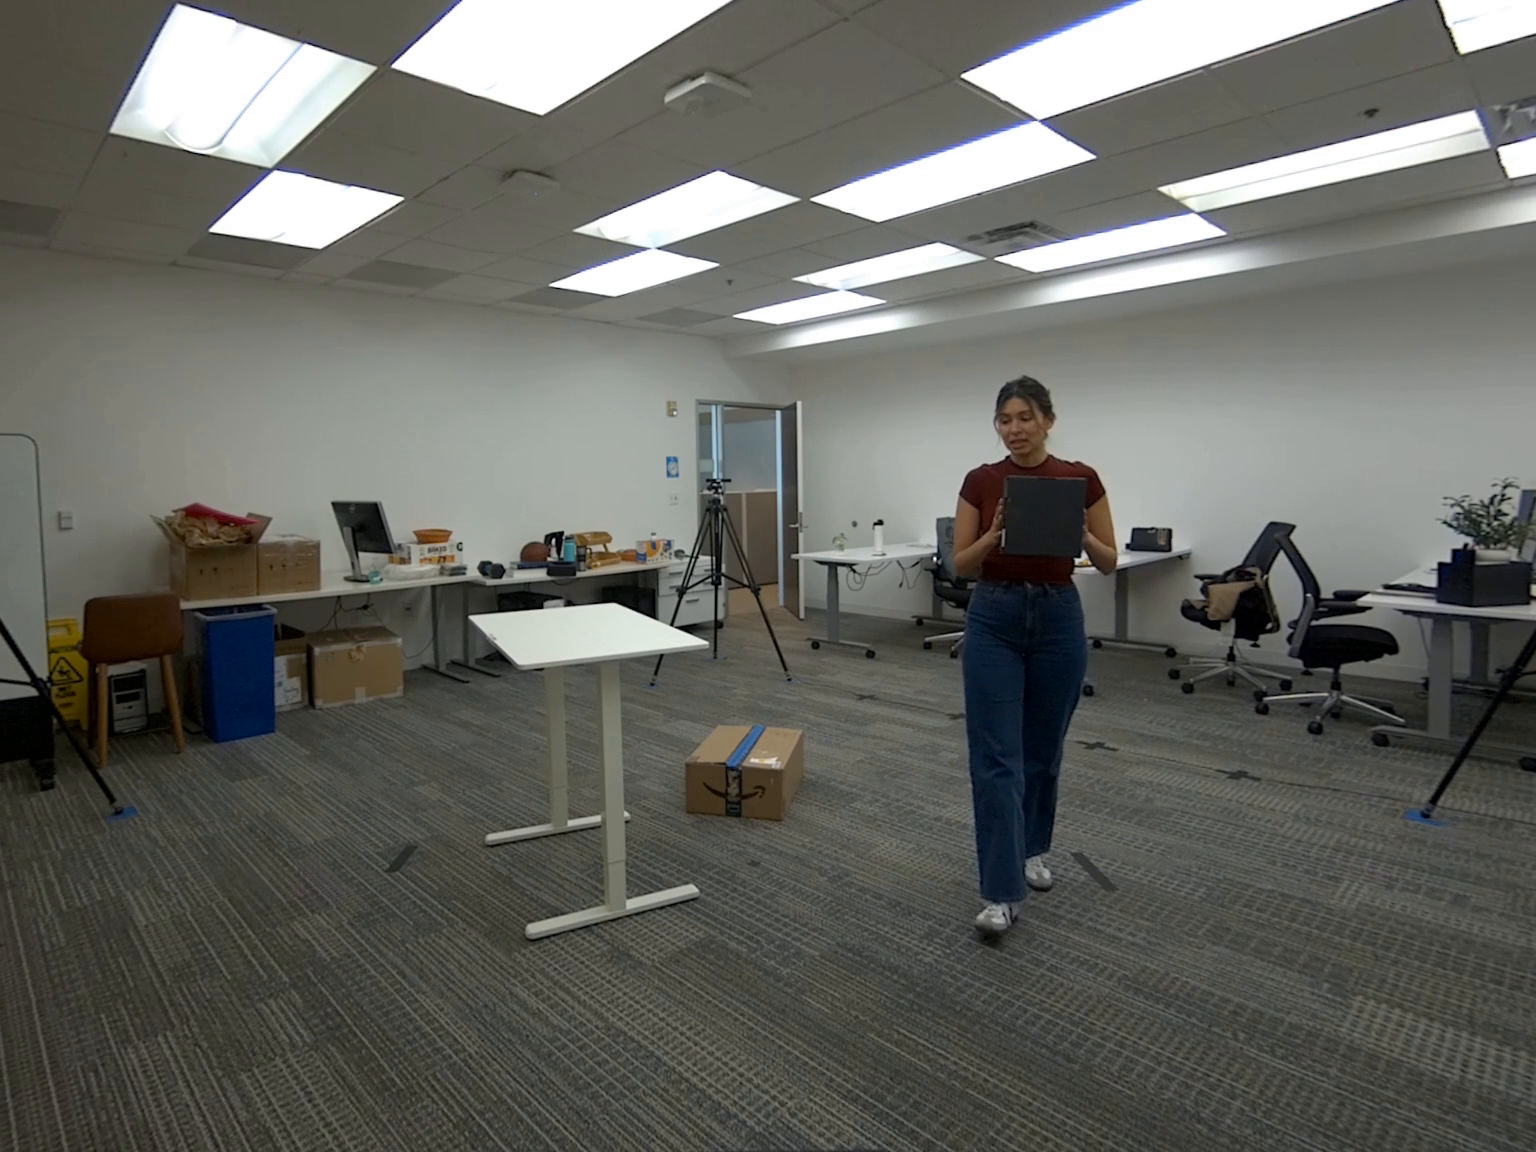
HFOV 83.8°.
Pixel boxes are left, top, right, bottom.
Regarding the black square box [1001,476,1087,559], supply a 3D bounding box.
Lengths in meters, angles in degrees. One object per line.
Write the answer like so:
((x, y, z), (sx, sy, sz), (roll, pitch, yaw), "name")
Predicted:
((0.812, -0.181, 2.515), (0.219, 0.227, 0.155), (1, 3, 10), "black square box")
